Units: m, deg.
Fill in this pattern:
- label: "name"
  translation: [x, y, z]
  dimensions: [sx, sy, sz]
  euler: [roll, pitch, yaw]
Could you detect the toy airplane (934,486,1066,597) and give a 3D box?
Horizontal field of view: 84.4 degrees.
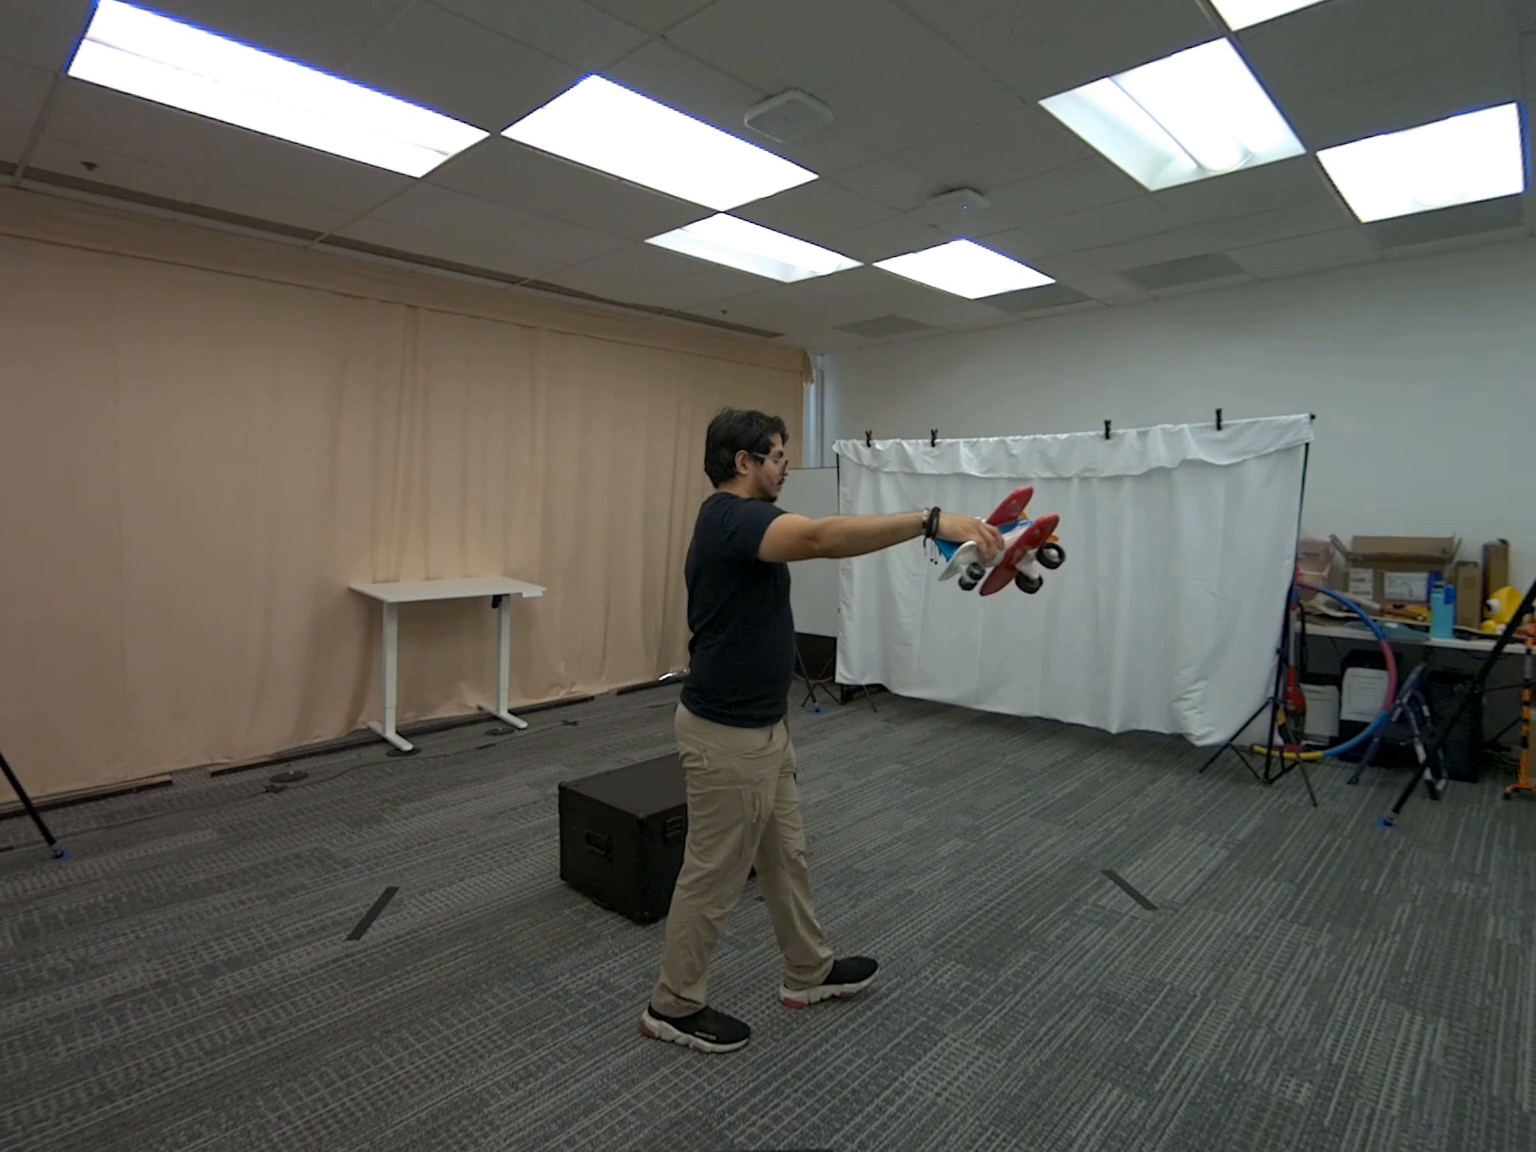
- label: "toy airplane"
  translation: [0.486, -0.063, 1.700]
  dimensions: [0.253, 0.161, 0.250]
  euler: [-39, -39, 25]
